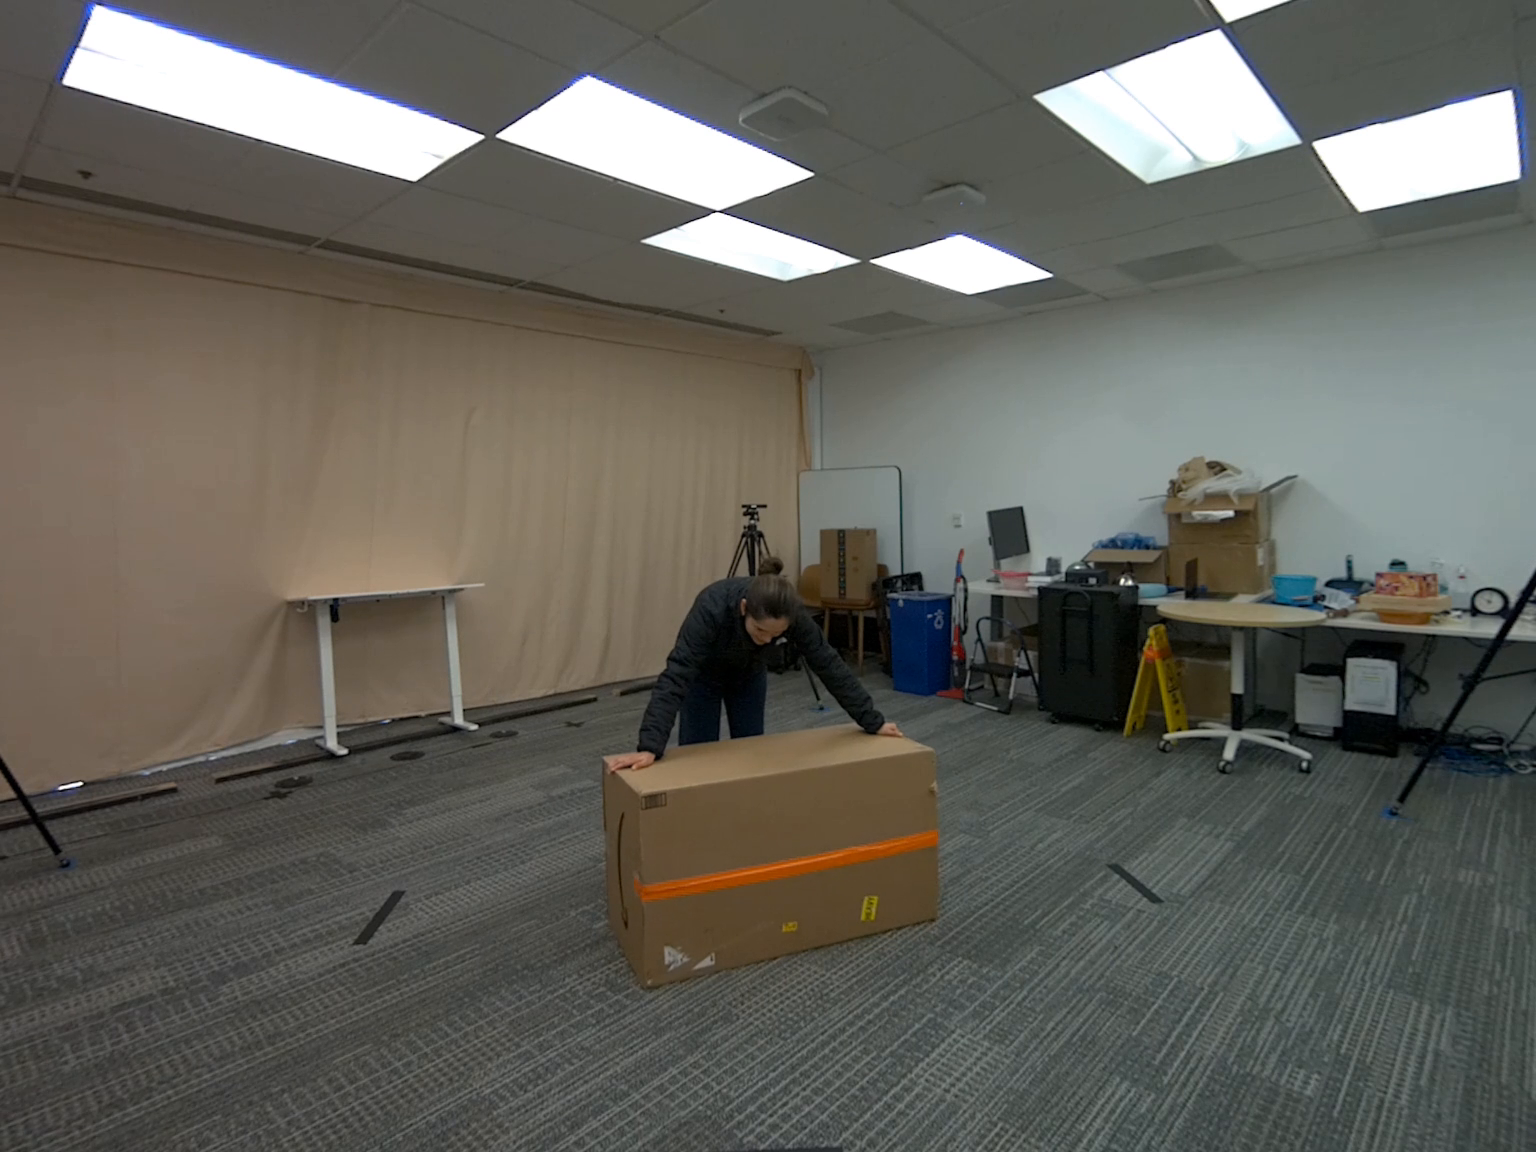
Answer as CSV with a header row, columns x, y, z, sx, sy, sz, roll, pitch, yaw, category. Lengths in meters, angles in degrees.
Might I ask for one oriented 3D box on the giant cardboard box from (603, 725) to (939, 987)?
x,y,z,sx,sy,sz,roll,pitch,yaw,category
0.031,0.871,2.792,1.005,0.583,0.457,-3,3,-22,giant cardboard box
